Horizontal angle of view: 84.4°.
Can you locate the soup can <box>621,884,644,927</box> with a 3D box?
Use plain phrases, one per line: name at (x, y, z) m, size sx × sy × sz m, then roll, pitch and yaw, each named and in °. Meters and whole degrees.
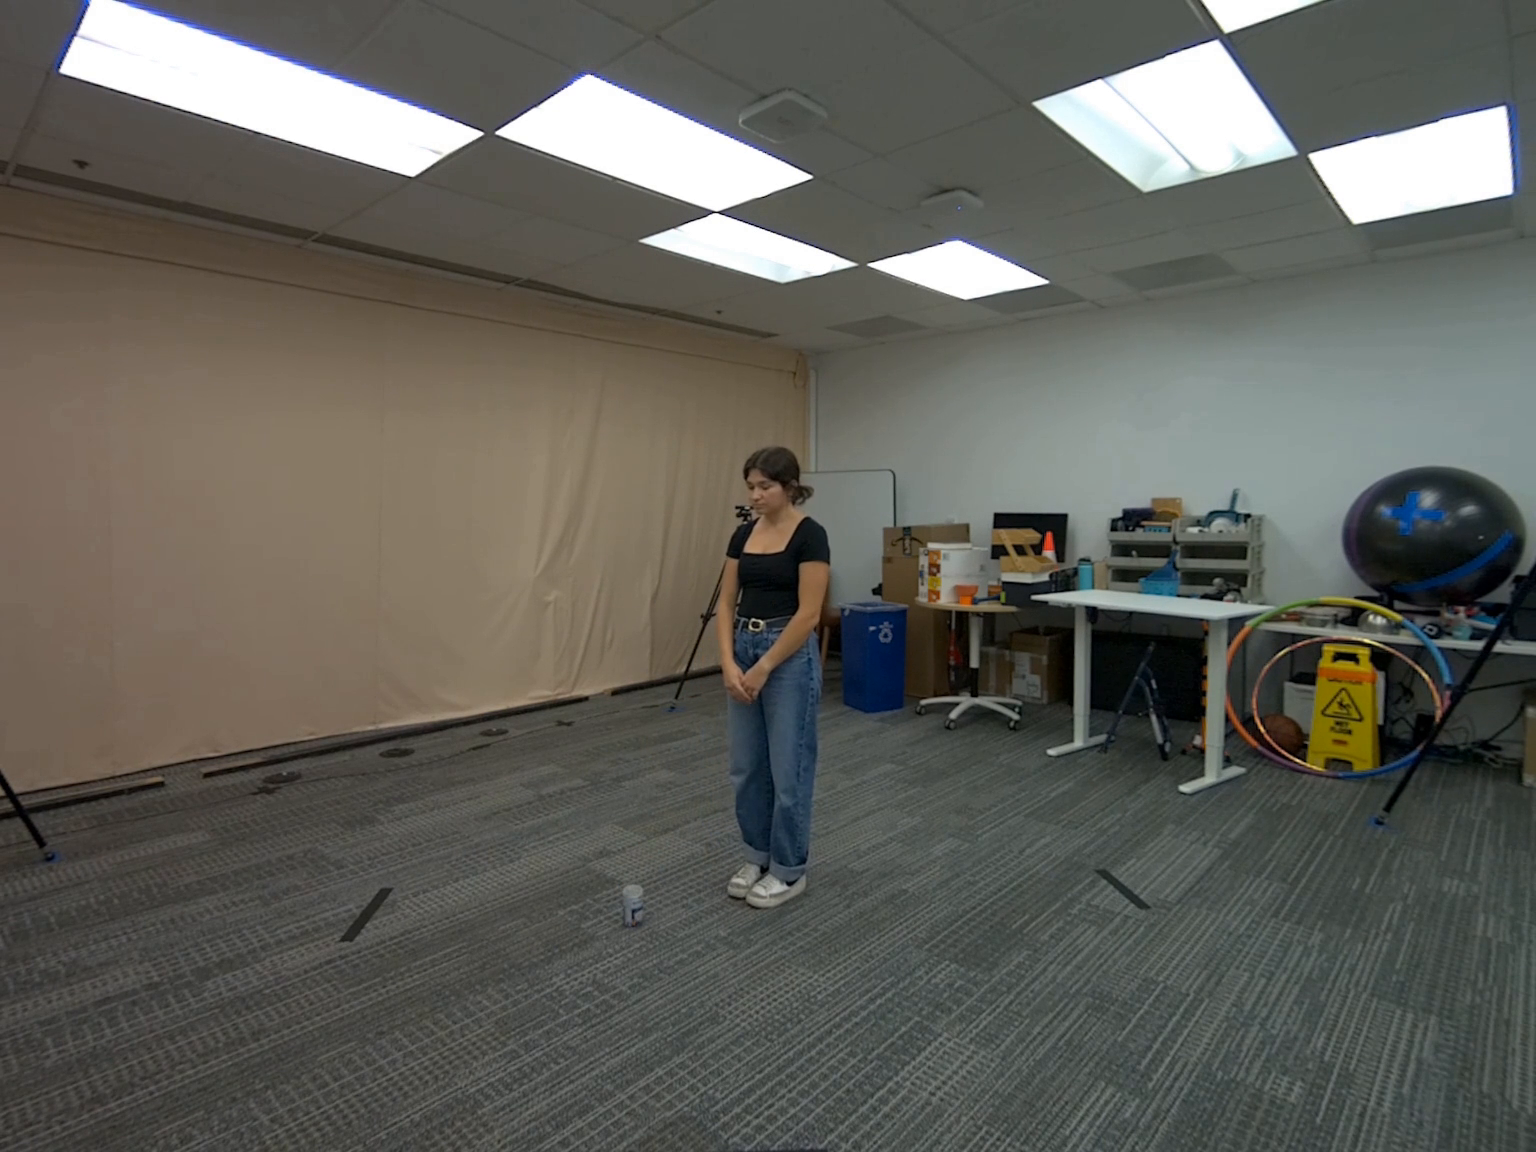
soup can at (-0.447, 1.107, 2.812) m, size 0.067 × 0.121 × 0.067 m, roll -4°, pitch 2°, yaw -2°
